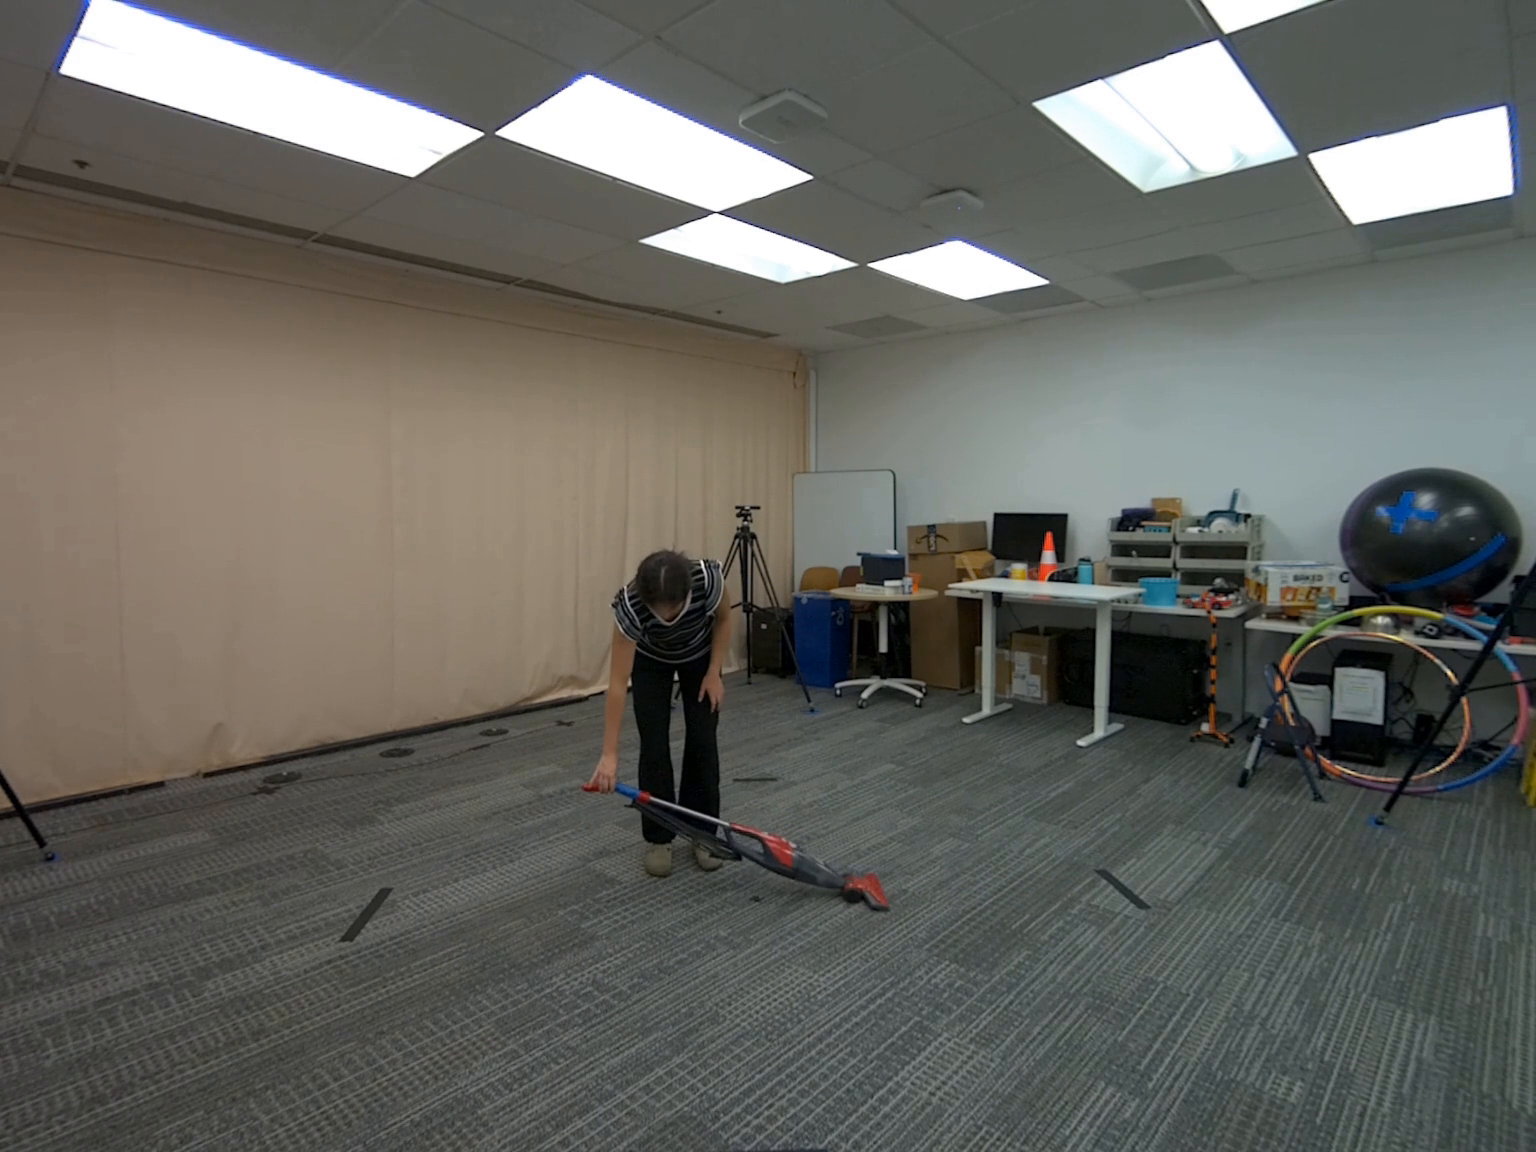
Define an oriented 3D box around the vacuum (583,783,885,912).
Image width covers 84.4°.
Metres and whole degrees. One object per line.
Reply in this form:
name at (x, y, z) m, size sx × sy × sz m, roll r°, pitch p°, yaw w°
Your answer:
vacuum at (-0.151, 0.933, 3.007) m, size 1.050 × 0.143 × 0.253 m, roll 20°, pitch 10°, yaw 0°
